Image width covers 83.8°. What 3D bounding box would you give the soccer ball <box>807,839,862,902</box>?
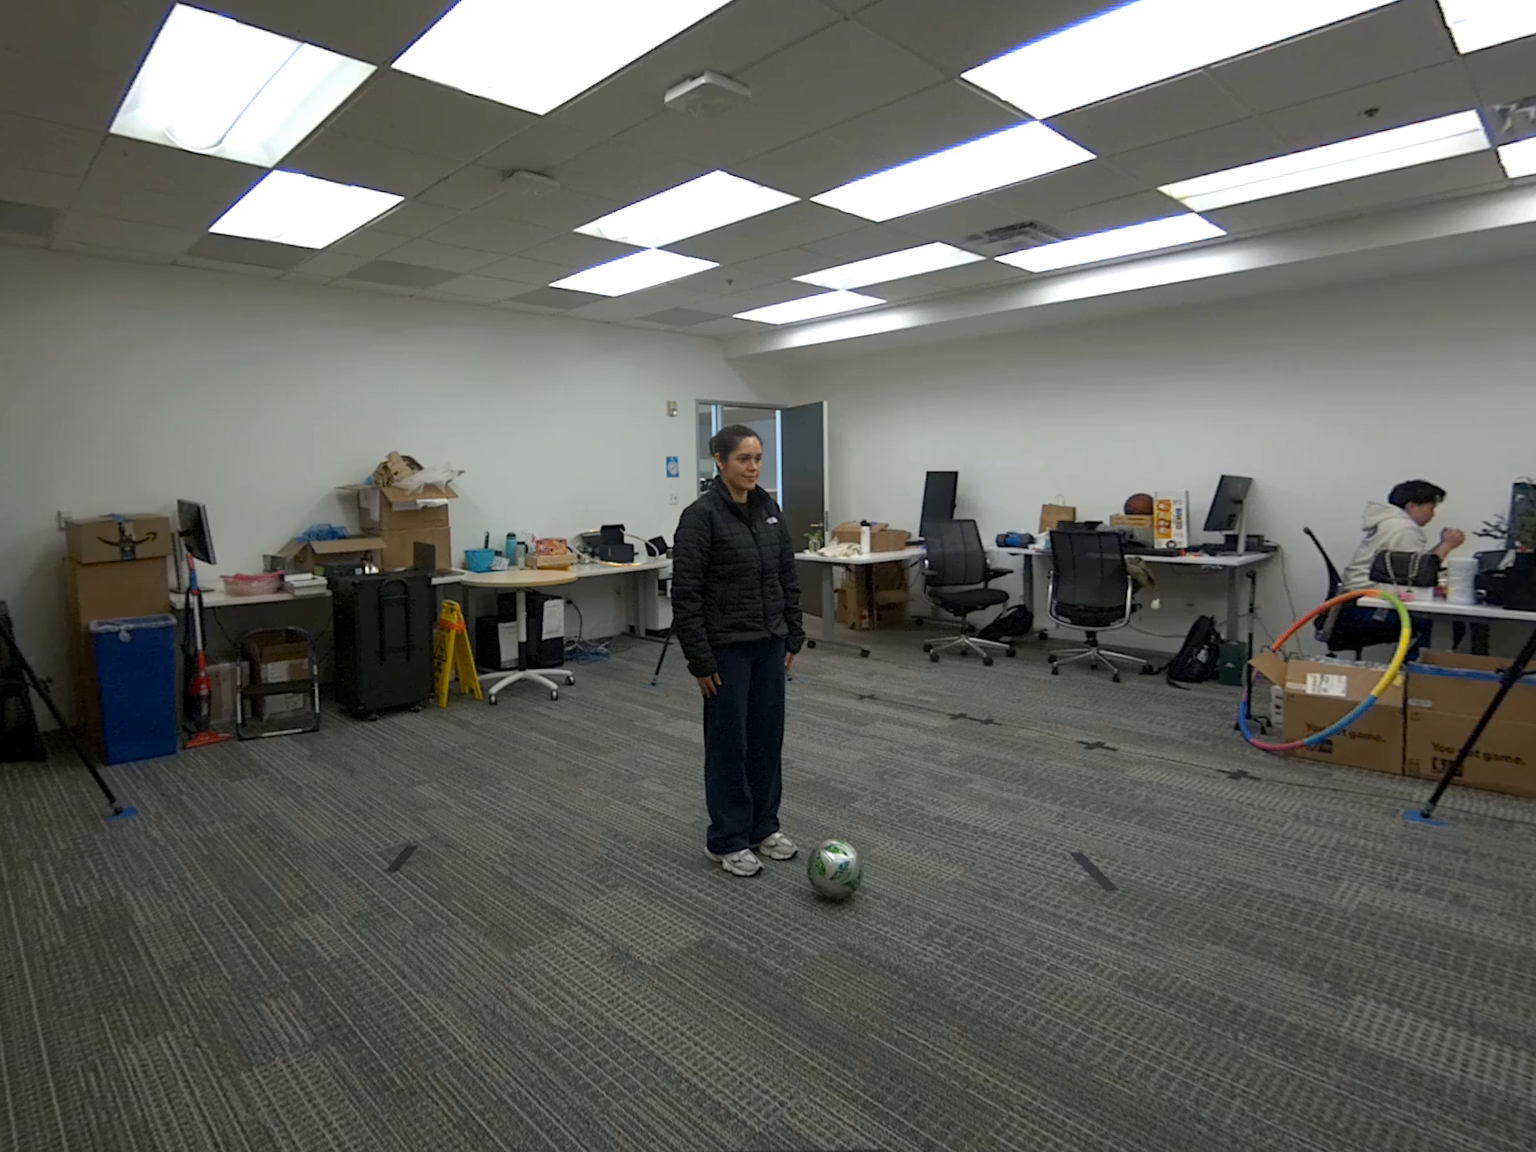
[{"bbox_3d":[0.229,0.974,2.846,0.187,0.187,0.188,-1,5,-2],"label":"soccer ball"}]
